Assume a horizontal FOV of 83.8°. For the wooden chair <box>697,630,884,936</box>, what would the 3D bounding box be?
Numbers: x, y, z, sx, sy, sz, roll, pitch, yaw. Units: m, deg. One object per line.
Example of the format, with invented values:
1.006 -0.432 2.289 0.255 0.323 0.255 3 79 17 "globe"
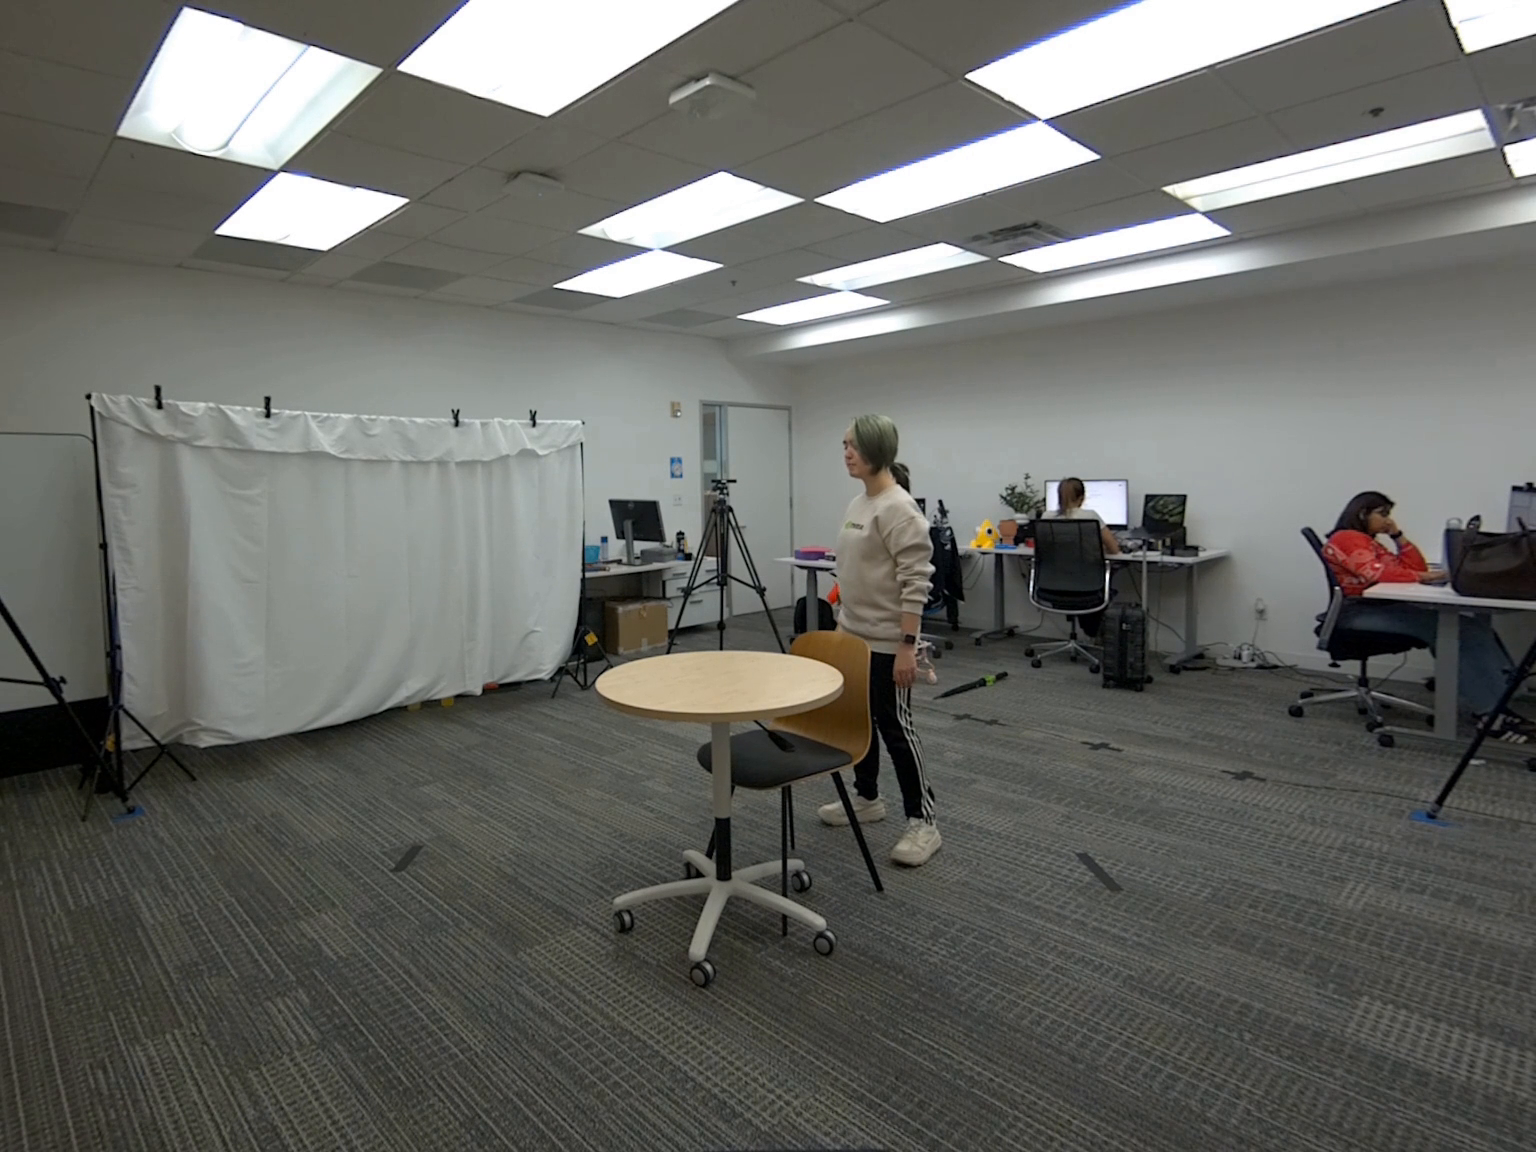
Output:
0.060 0.642 2.882 0.508 0.876 0.493 1 2 -39 "wooden chair"
